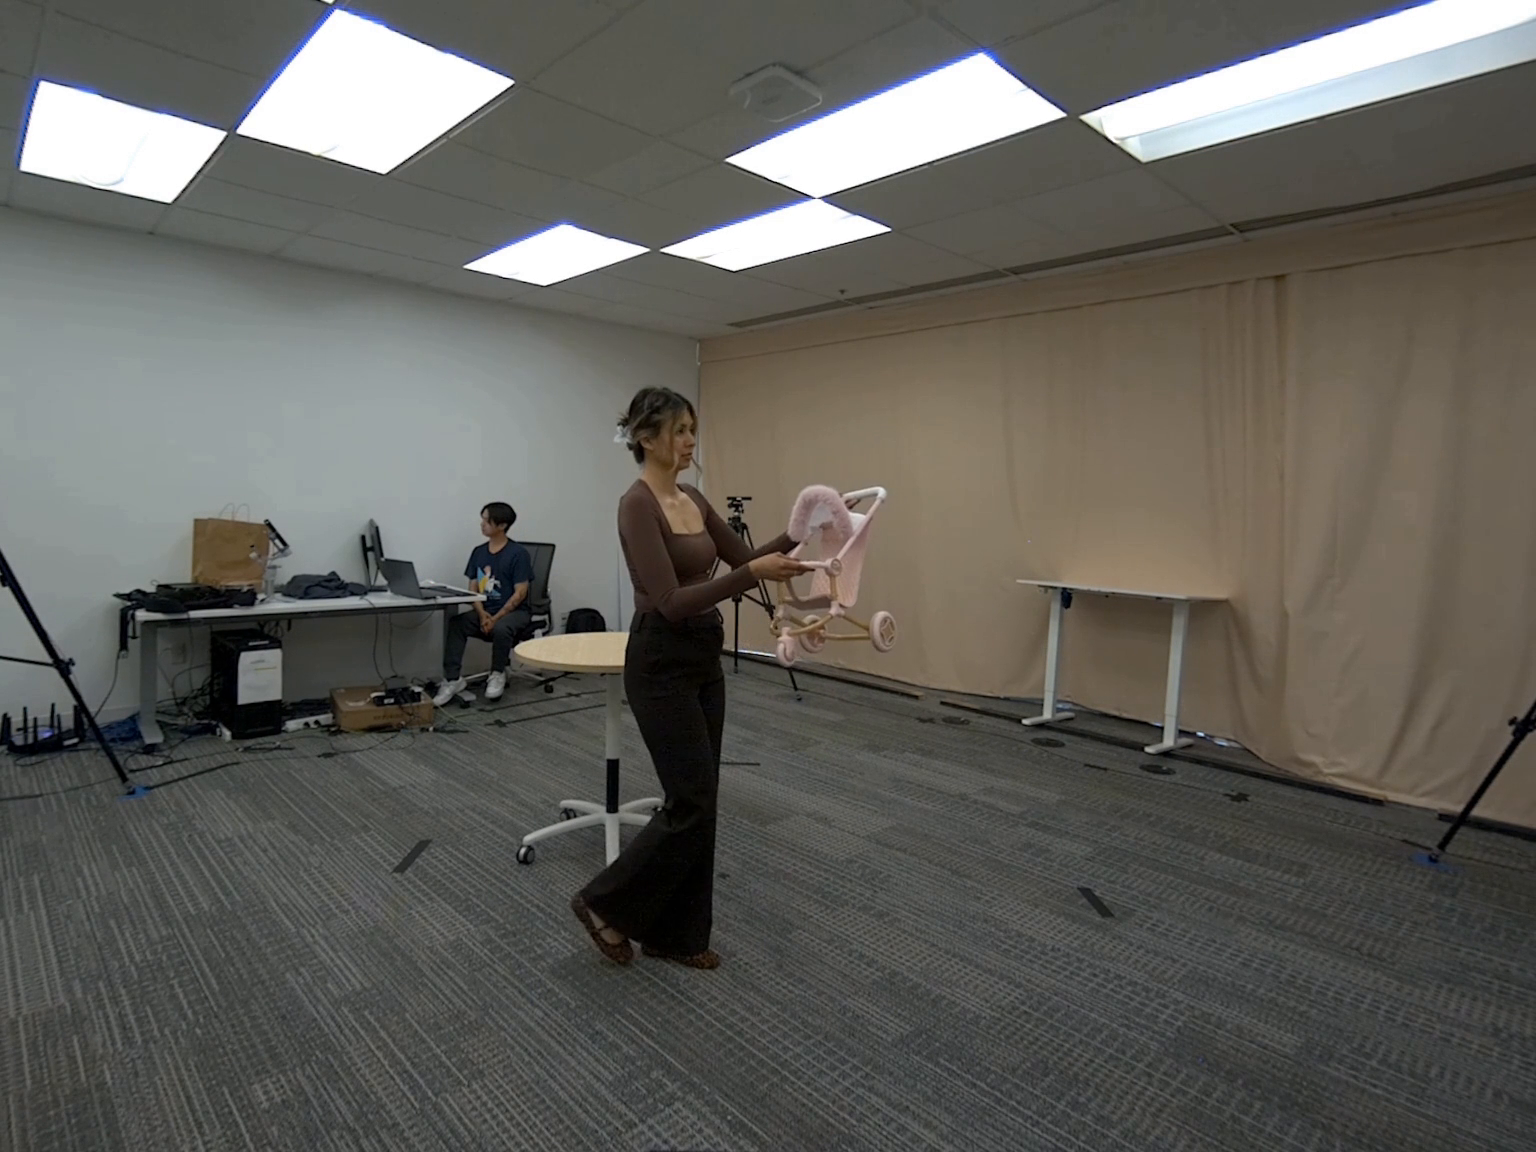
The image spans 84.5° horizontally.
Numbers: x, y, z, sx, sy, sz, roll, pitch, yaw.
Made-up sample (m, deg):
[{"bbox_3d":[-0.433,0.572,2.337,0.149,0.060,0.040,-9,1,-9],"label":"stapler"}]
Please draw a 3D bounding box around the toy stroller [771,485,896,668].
[{"bbox_3d":[0.145,-0.007,2.311,0.332,0.539,0.287,12,-13,-40],"label":"toy stroller"}]
